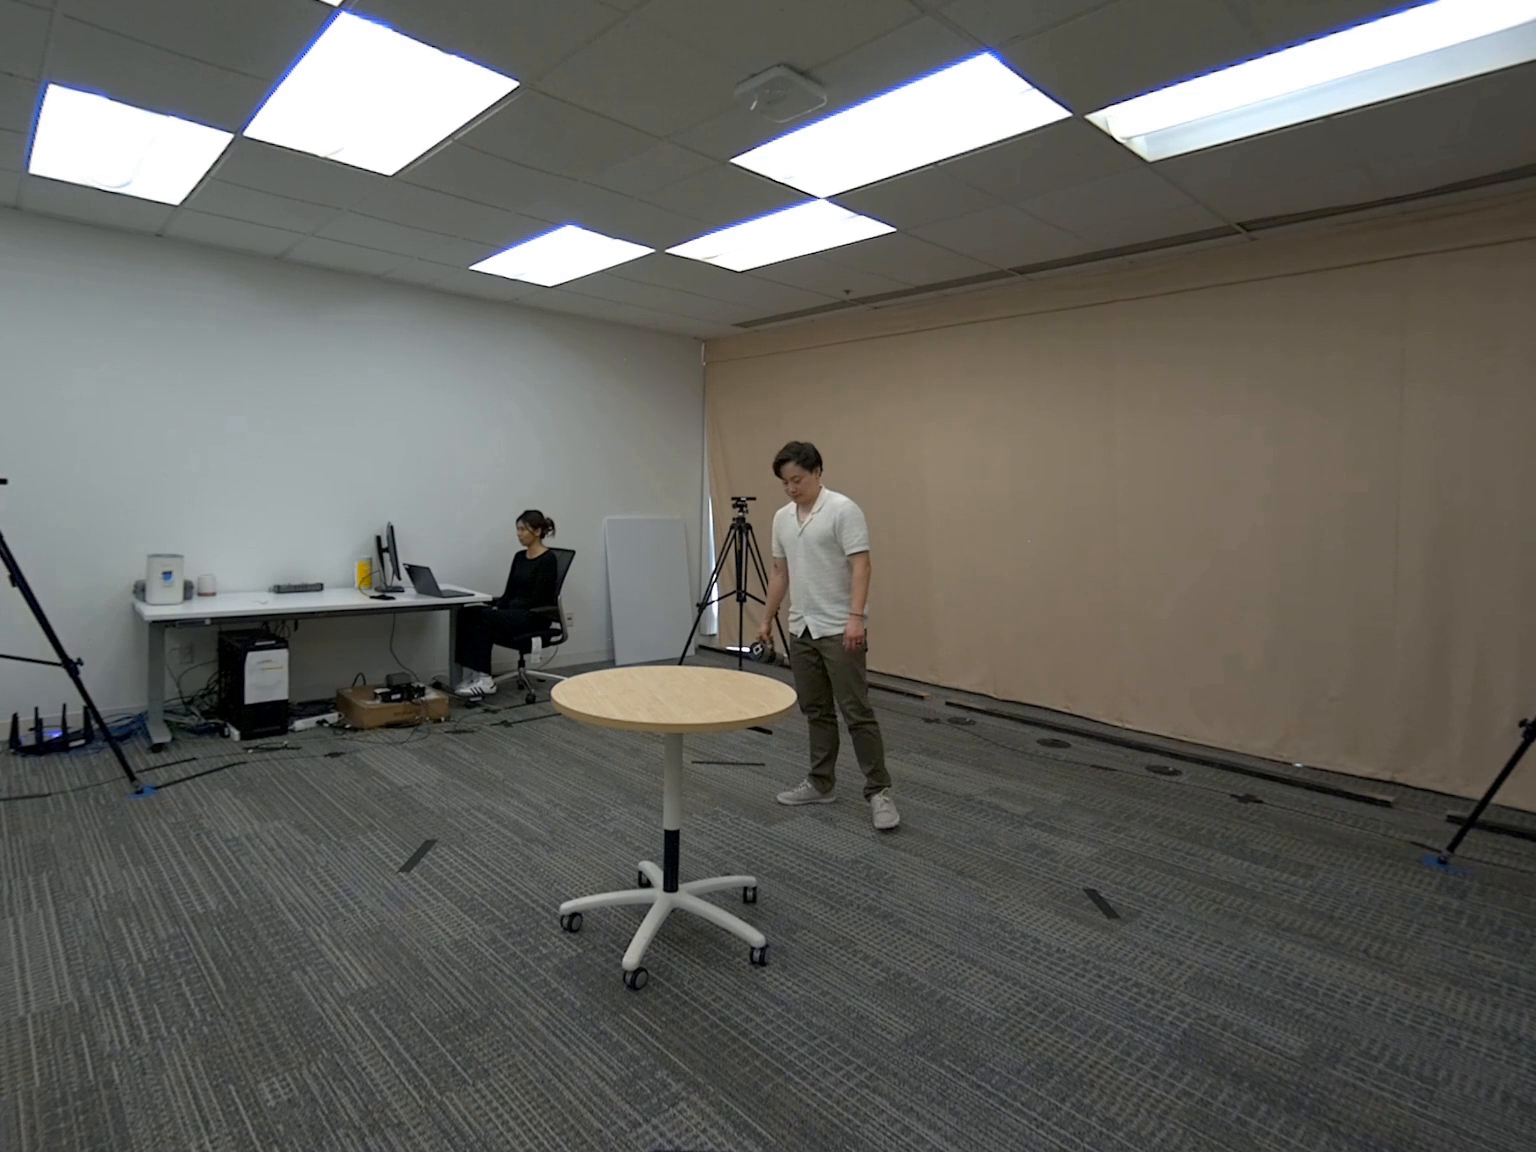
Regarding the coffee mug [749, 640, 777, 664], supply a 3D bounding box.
[{"bbox_3d":[0.012,0.367,4.050,0.090,0.122,0.197,51,10,34],"label":"coffee mug"}]
